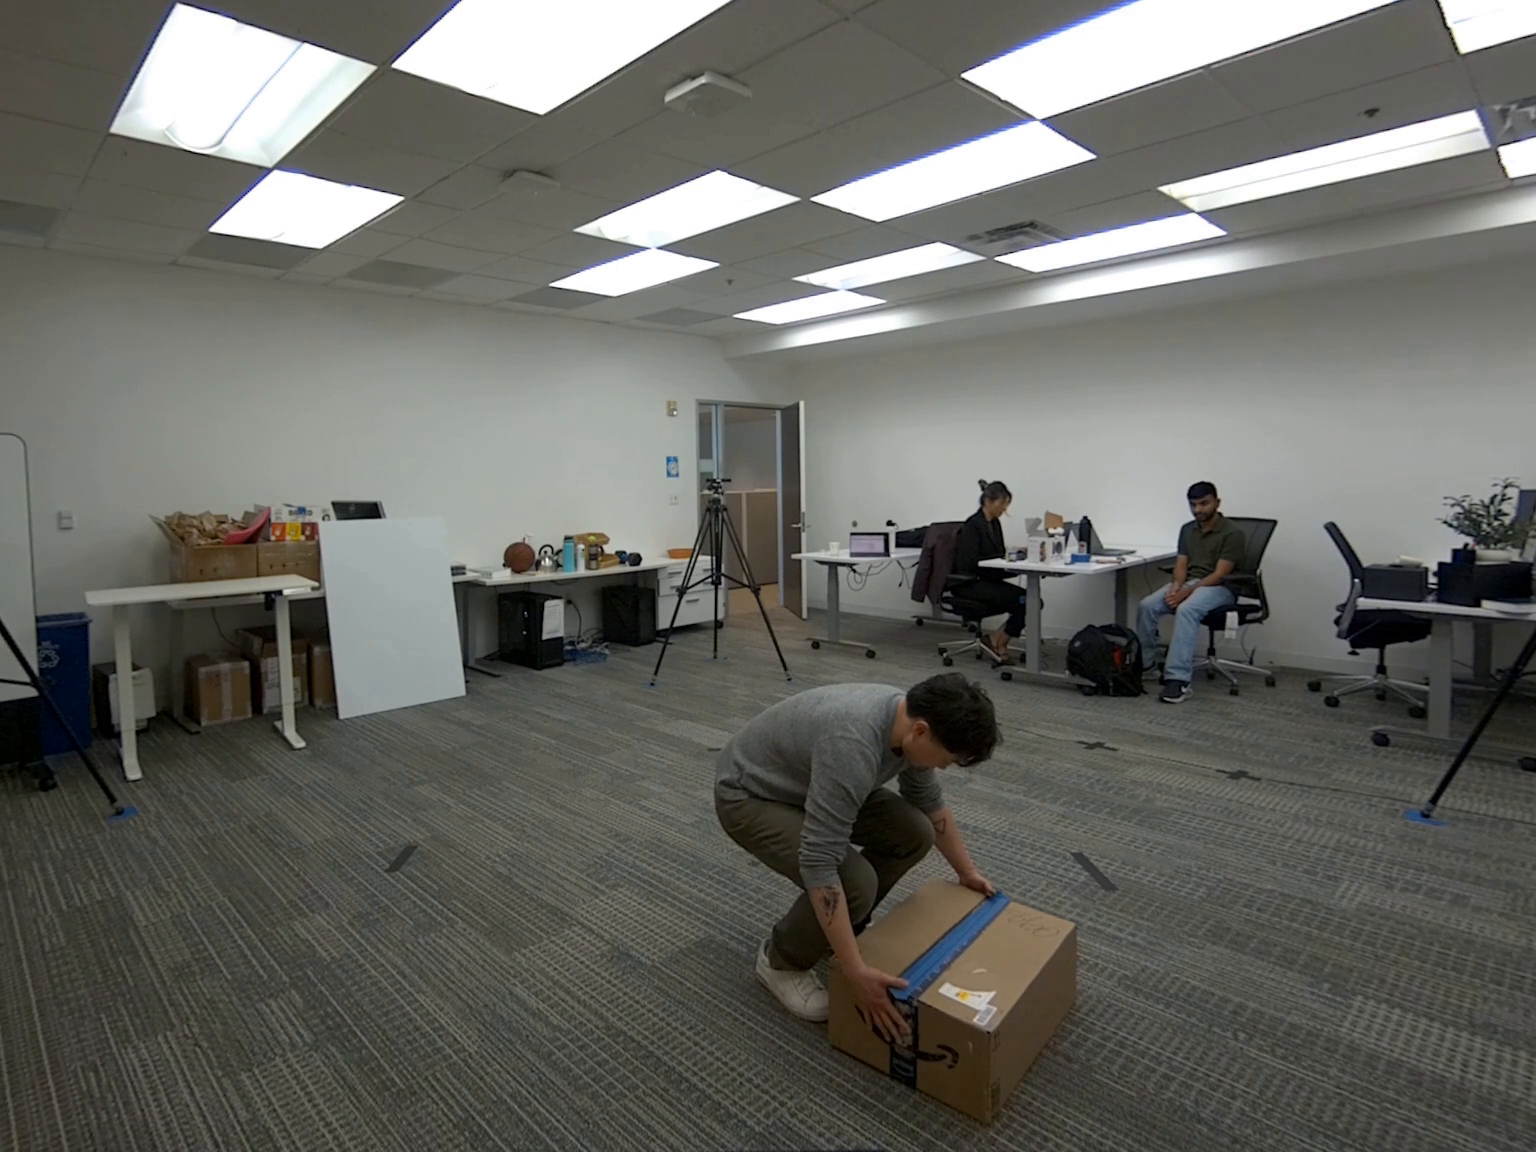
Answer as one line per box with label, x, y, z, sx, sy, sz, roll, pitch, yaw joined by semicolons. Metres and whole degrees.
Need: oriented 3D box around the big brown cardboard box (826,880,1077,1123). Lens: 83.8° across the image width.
big brown cardboard box;0.478;1.026;2.169;0.430;0.232;0.574;4;8;38
